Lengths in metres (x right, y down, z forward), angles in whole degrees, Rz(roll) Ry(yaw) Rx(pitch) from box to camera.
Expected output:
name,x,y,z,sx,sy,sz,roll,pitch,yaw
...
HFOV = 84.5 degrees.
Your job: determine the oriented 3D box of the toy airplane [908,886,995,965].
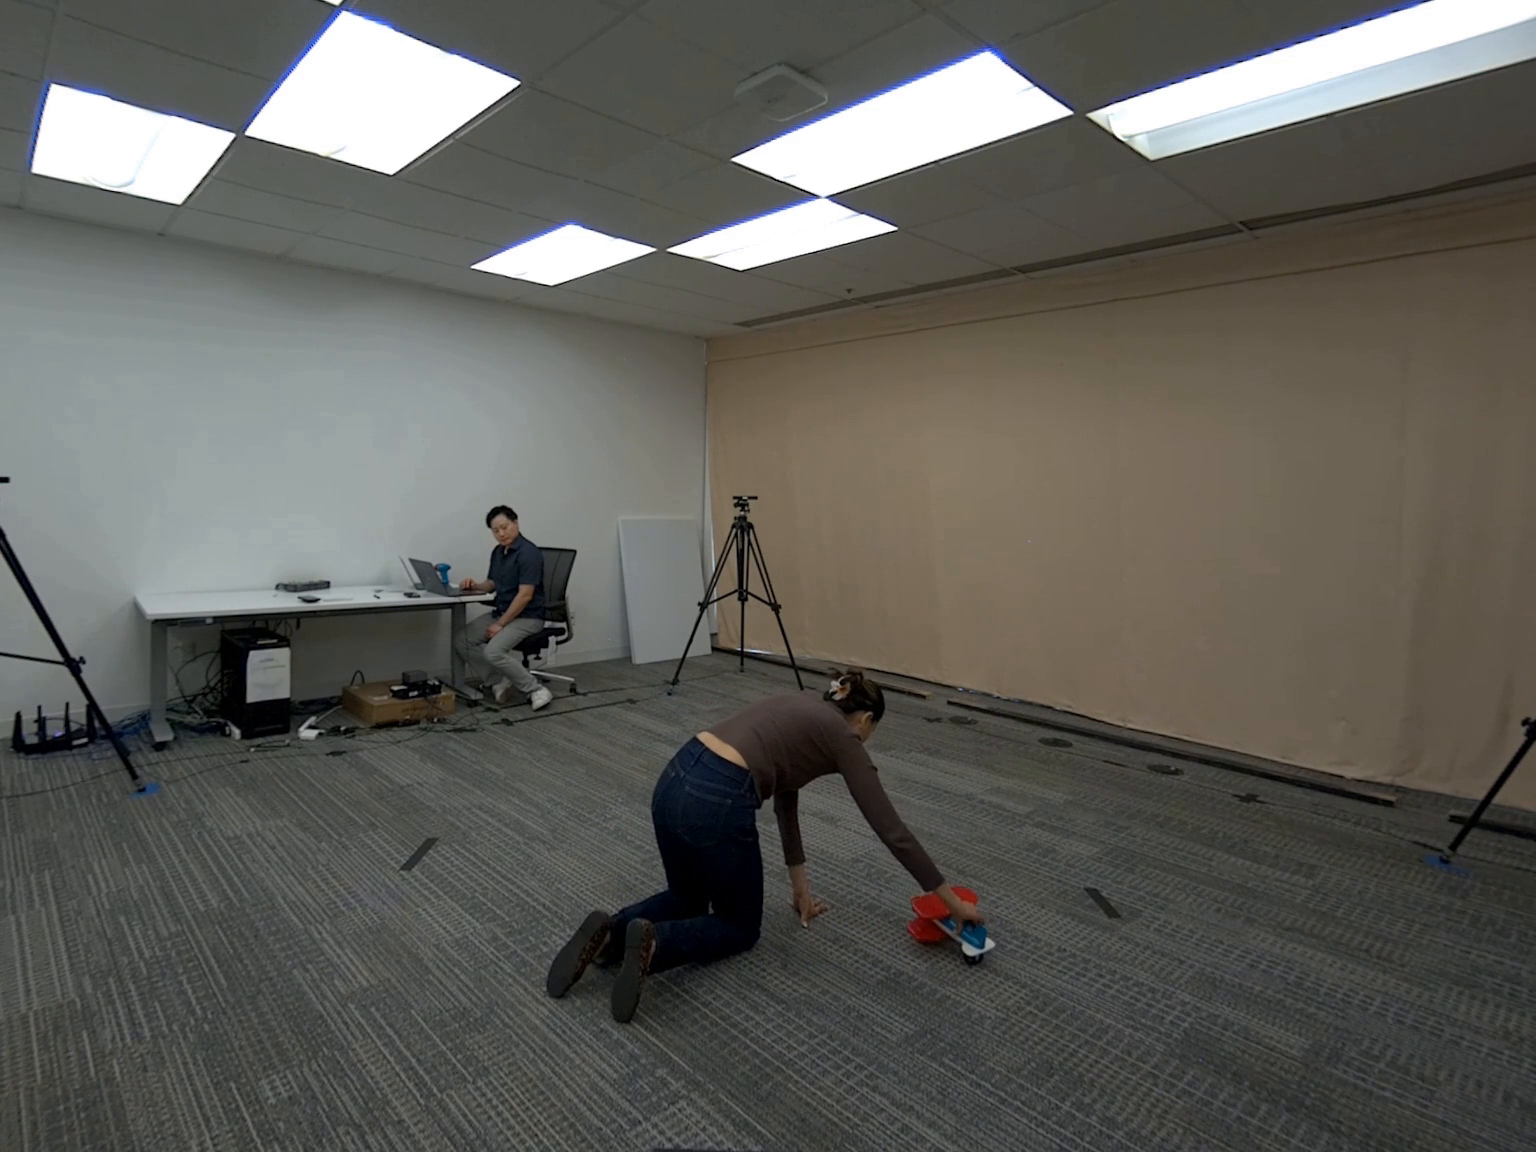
name,x,y,z,sx,sy,sz,roll,pitch,yaw
toy airplane,0.575,1.091,2.629,0.265,0.156,0.246,4,4,32
